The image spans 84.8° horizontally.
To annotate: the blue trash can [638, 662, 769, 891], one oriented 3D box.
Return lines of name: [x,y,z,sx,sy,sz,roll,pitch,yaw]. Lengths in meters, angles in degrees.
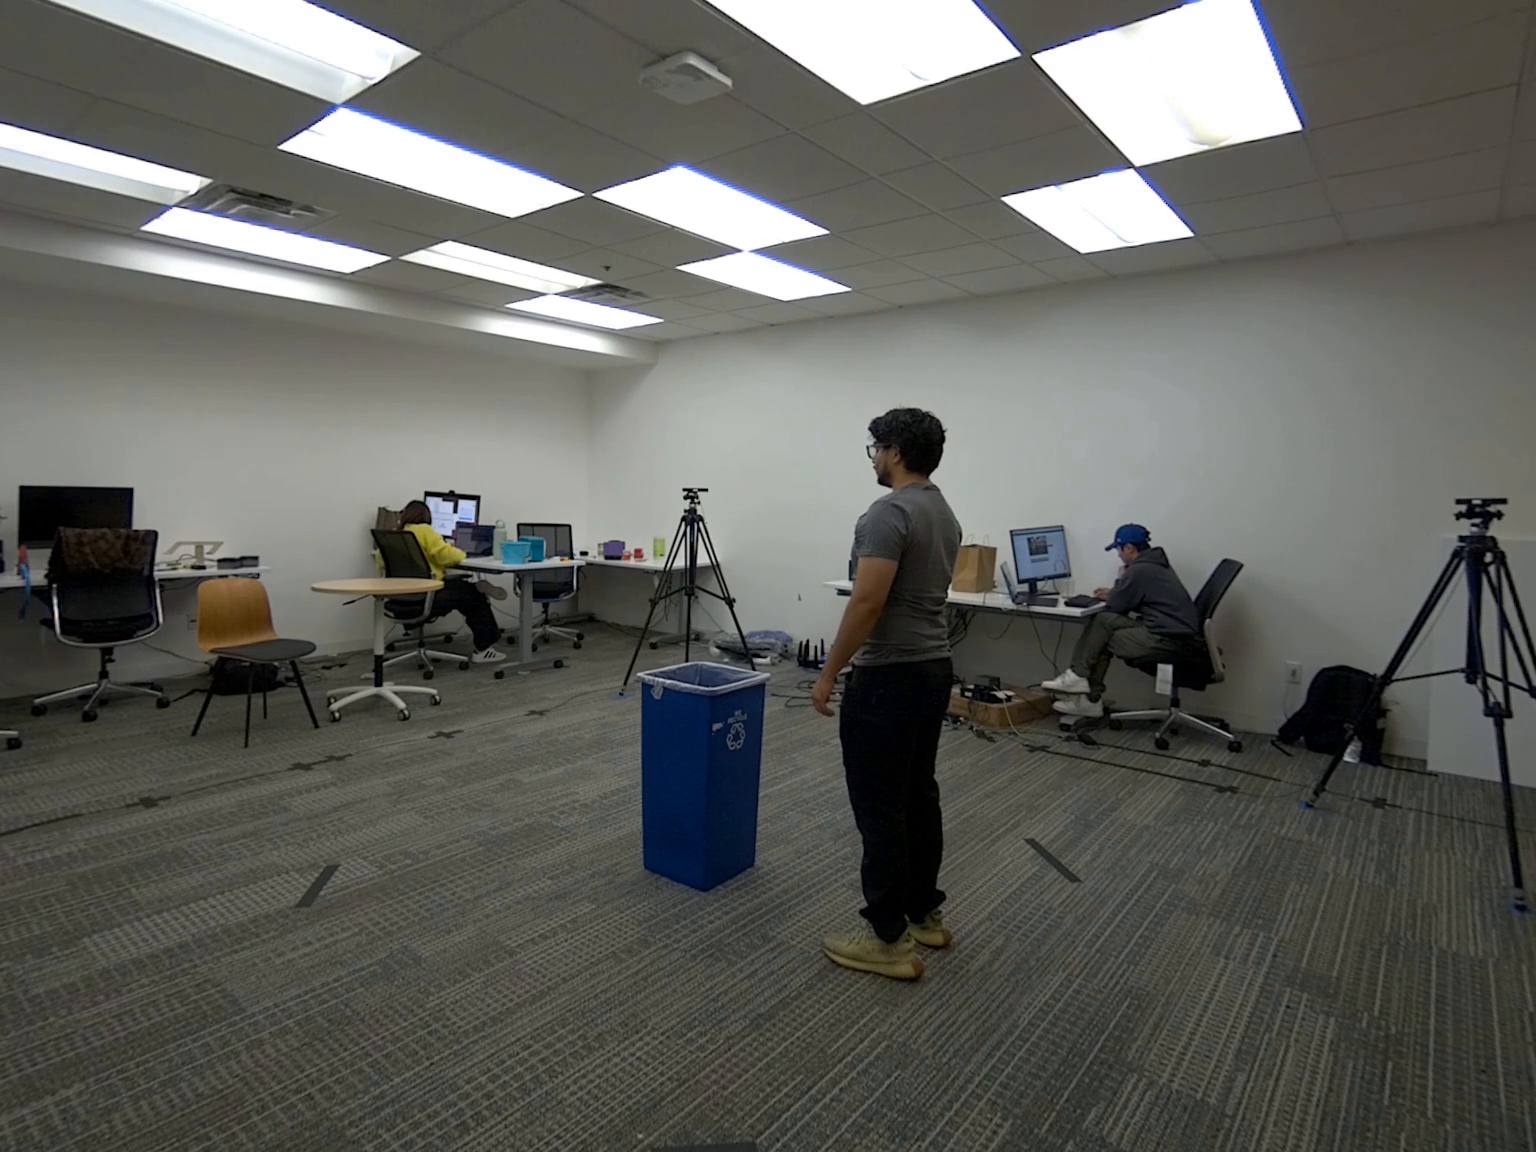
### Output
blue trash can: [-0.245,0.709,3.118,0.386,0.712,0.367,3,3,36]
